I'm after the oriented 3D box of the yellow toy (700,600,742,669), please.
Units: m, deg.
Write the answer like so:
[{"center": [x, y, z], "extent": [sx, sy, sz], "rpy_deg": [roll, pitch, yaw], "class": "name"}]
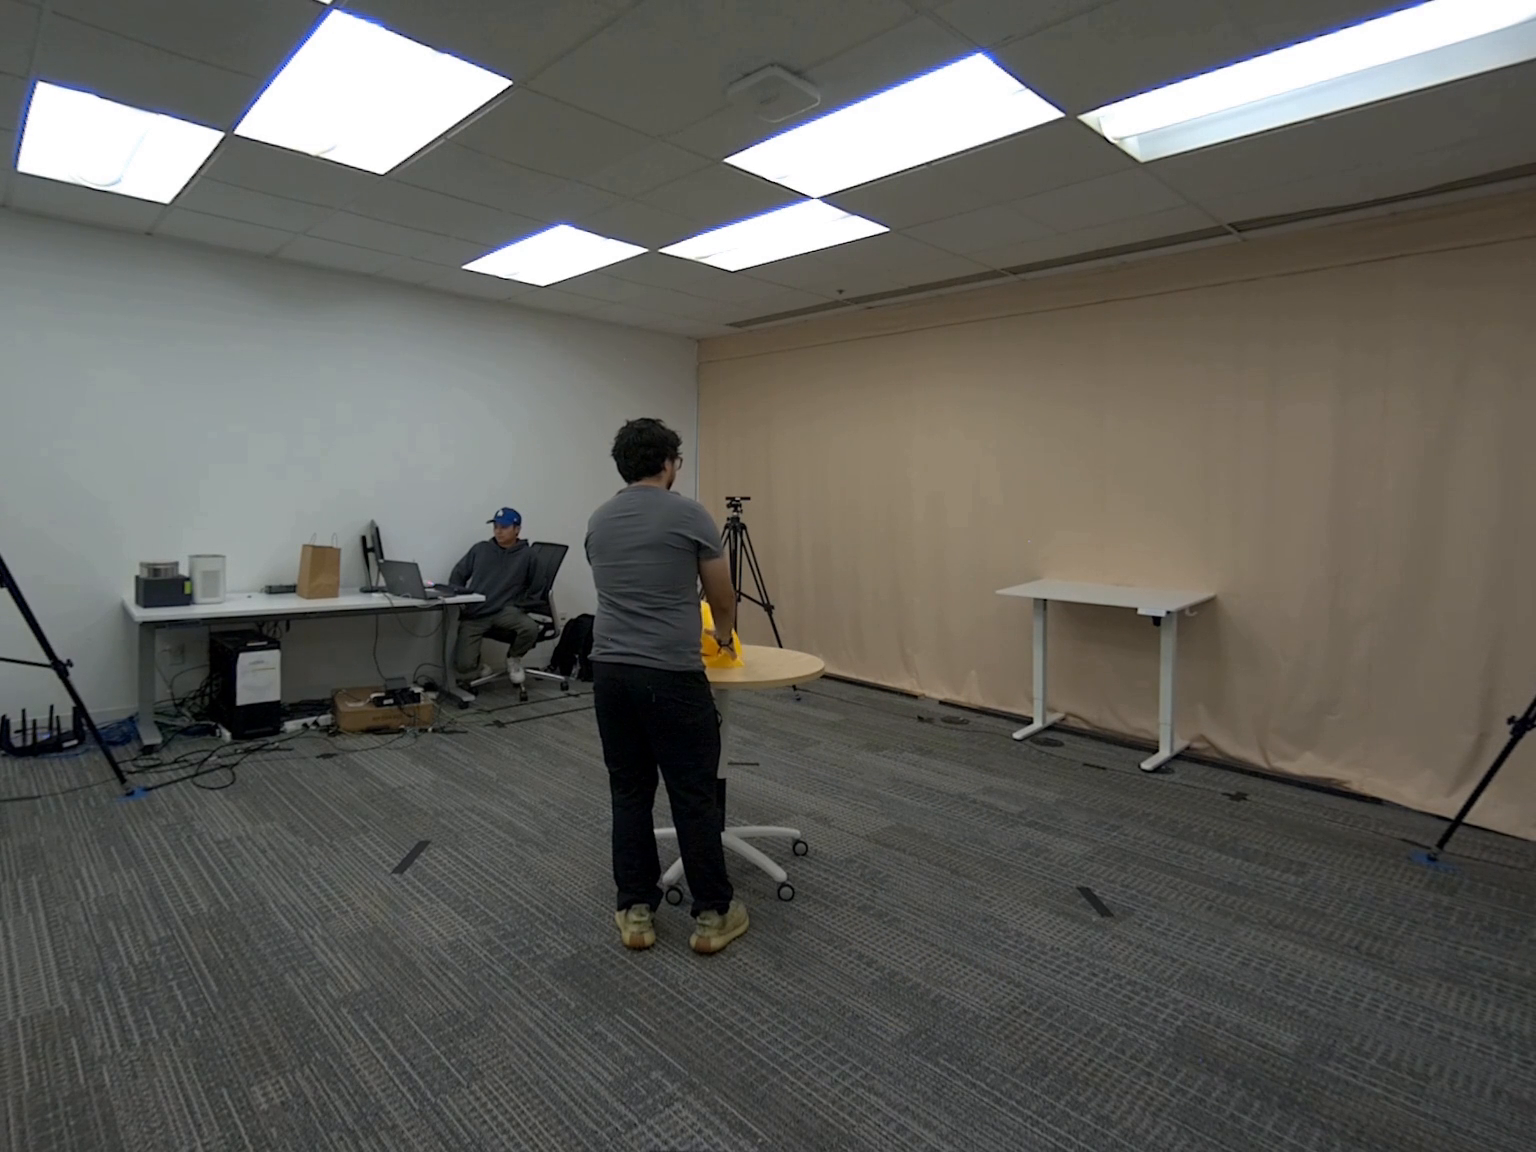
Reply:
[{"center": [-0.197, 0.207, 3.099], "extent": [0.191, 0.230, 0.207], "rpy_deg": [1, 3, -11], "class": "yellow toy"}]
